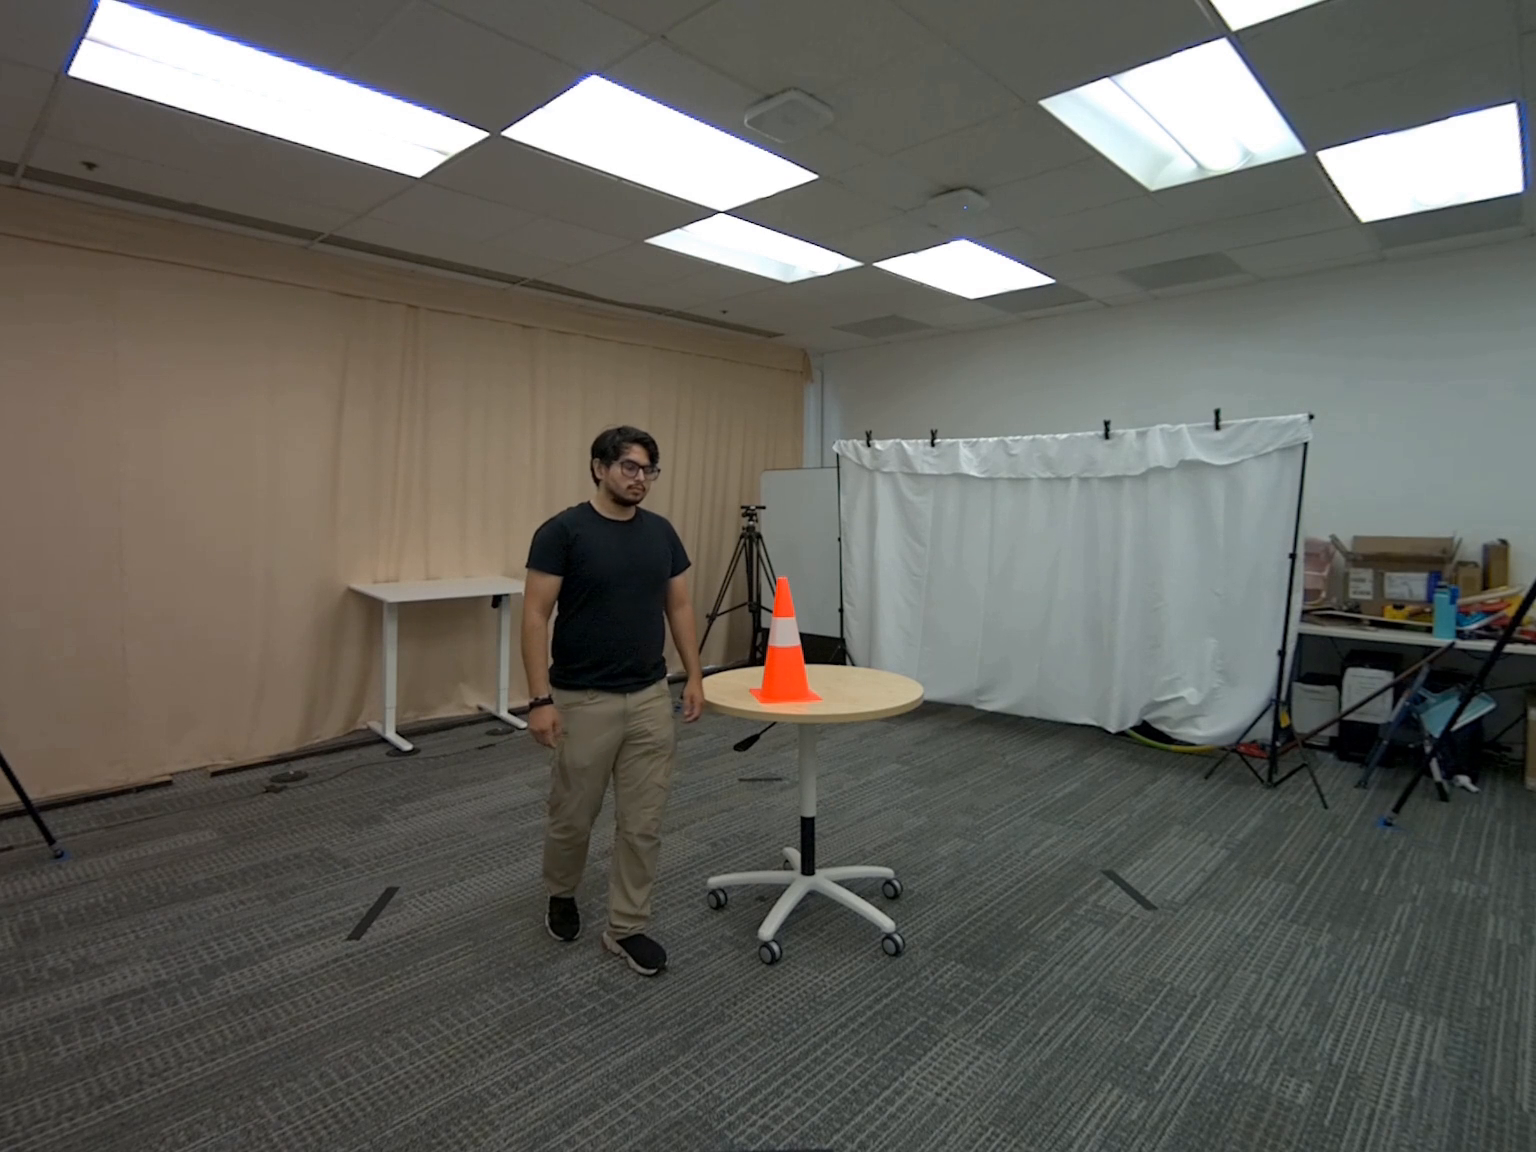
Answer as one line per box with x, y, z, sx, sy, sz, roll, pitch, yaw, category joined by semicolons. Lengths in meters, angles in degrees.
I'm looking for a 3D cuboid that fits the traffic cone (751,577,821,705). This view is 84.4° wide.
0.053;0.198;2.688;0.199;0.383;0.209;0;3;-20;traffic cone
